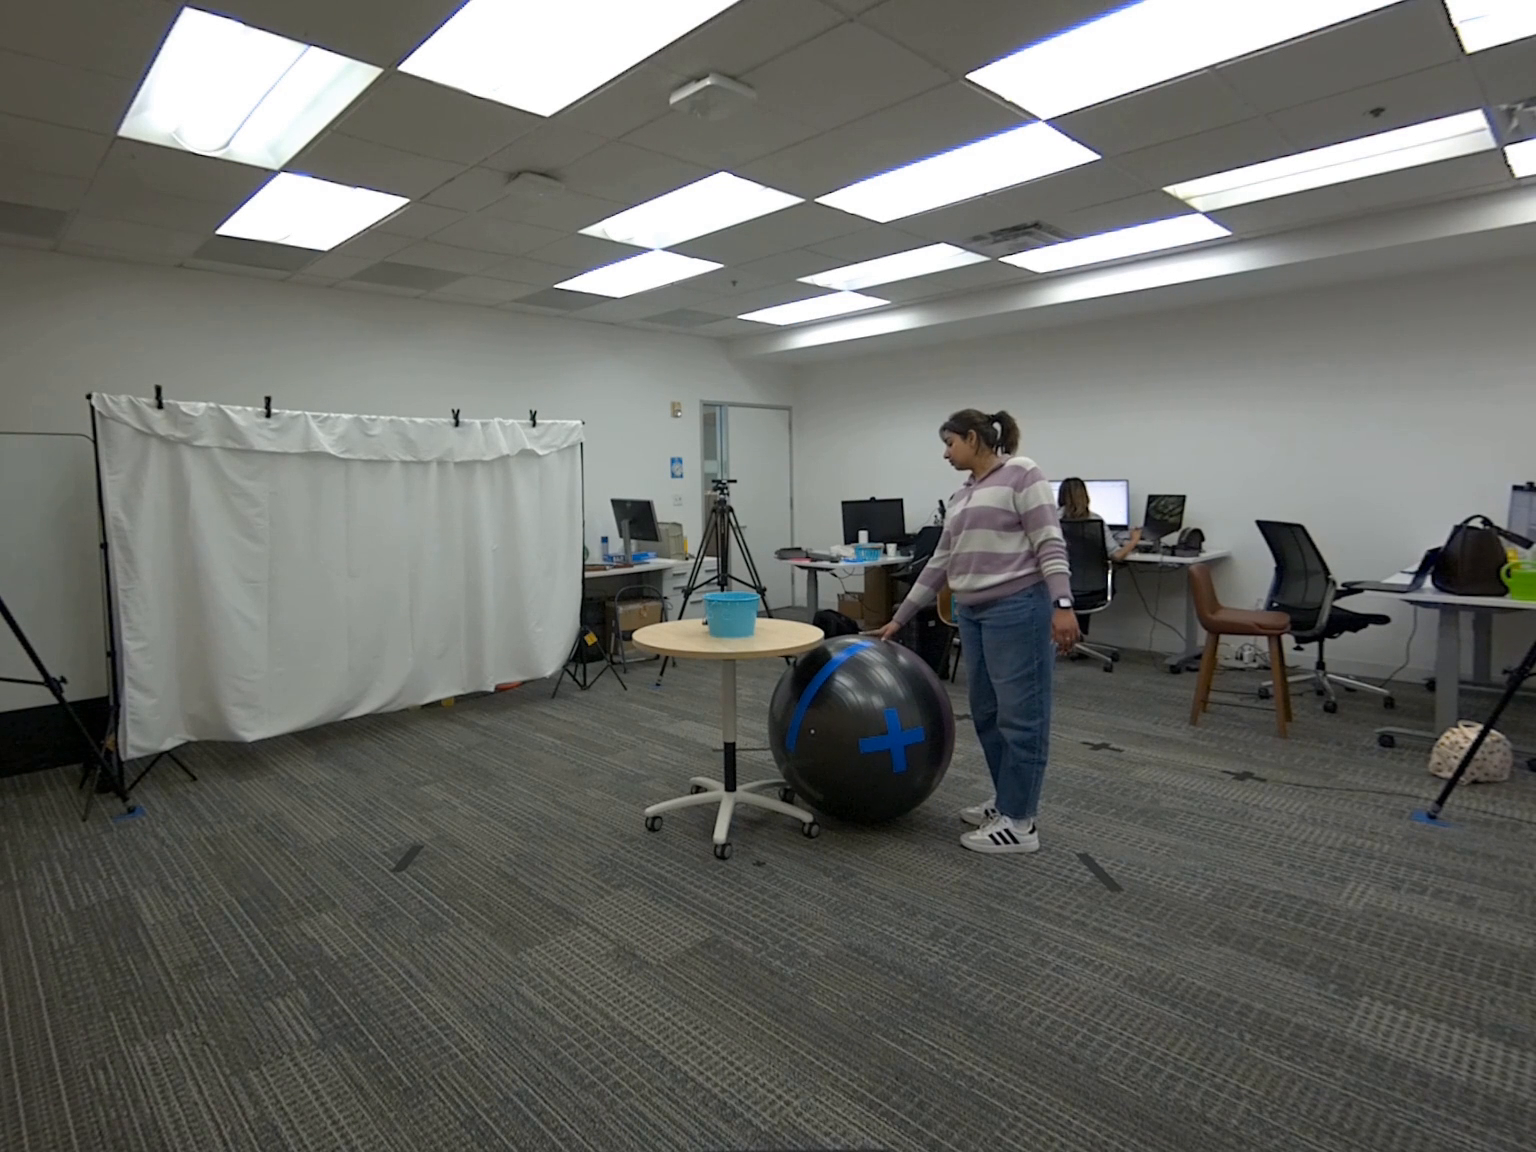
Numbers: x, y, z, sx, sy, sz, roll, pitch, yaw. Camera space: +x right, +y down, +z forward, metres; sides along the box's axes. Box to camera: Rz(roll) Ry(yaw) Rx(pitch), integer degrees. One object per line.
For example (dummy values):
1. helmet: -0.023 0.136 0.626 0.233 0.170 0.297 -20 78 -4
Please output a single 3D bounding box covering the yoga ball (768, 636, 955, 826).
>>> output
1. yoga ball: 0.382 0.622 3.532 0.757 0.755 0.762 -1 5 -2
